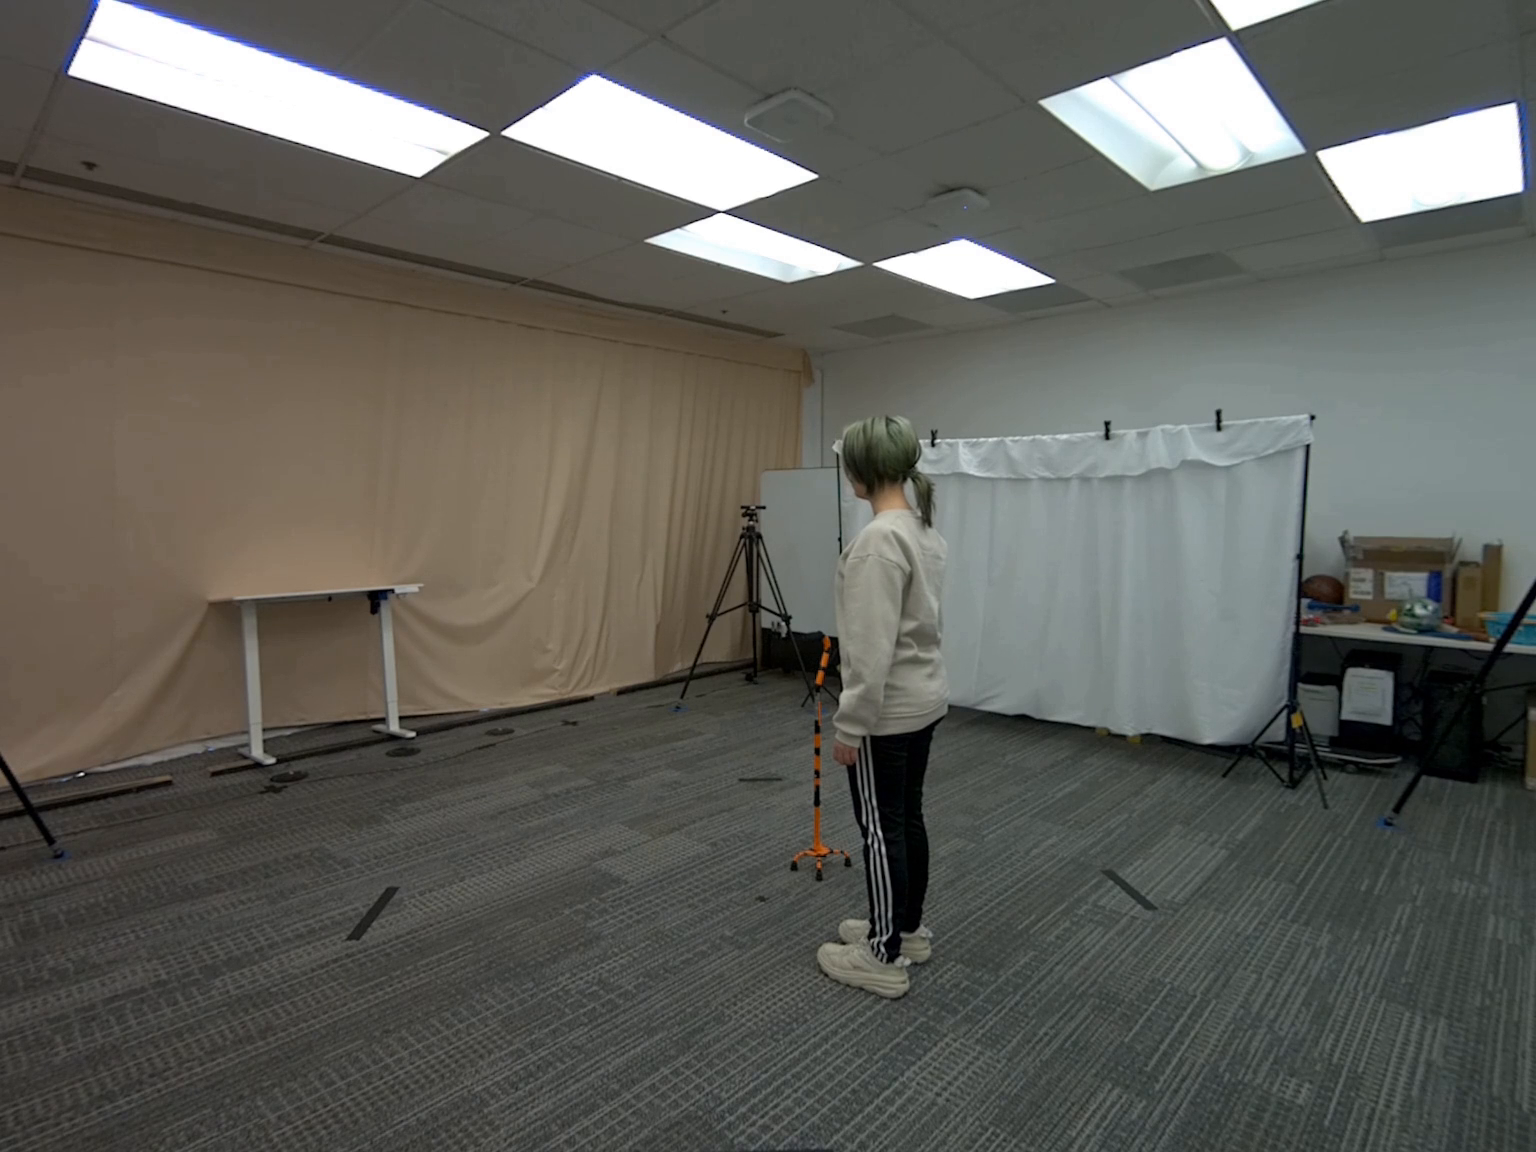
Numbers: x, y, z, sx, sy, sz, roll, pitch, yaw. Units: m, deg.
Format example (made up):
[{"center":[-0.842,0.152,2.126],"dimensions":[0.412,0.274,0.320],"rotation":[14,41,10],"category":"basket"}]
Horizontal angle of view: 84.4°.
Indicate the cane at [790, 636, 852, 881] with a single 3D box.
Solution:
[{"center":[0.199,0.668,3.212],"dimensions":[0.156,0.906,0.200],"rotation":[2,4,45],"category":"cane"}]
